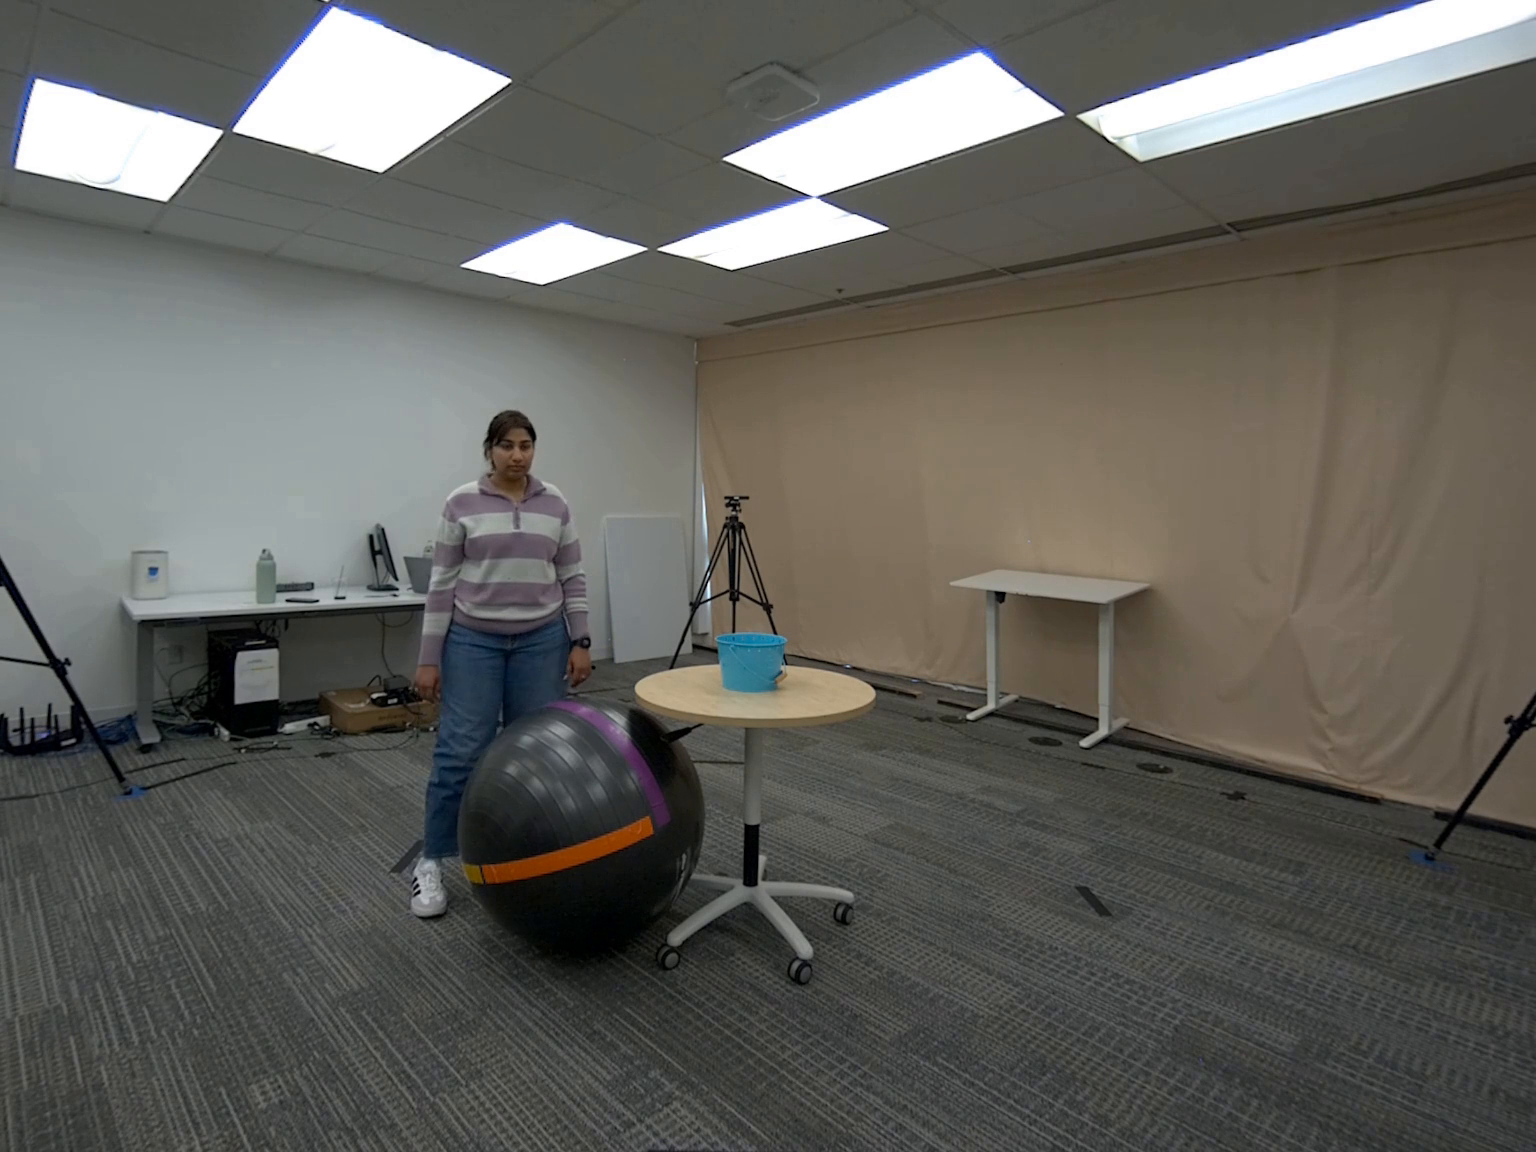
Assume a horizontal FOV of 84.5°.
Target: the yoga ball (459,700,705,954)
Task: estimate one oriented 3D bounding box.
[{"bbox_3d":[-0.585,0.766,2.633,0.757,0.756,0.761,1,4,-1],"label":"yoga ball"}]
